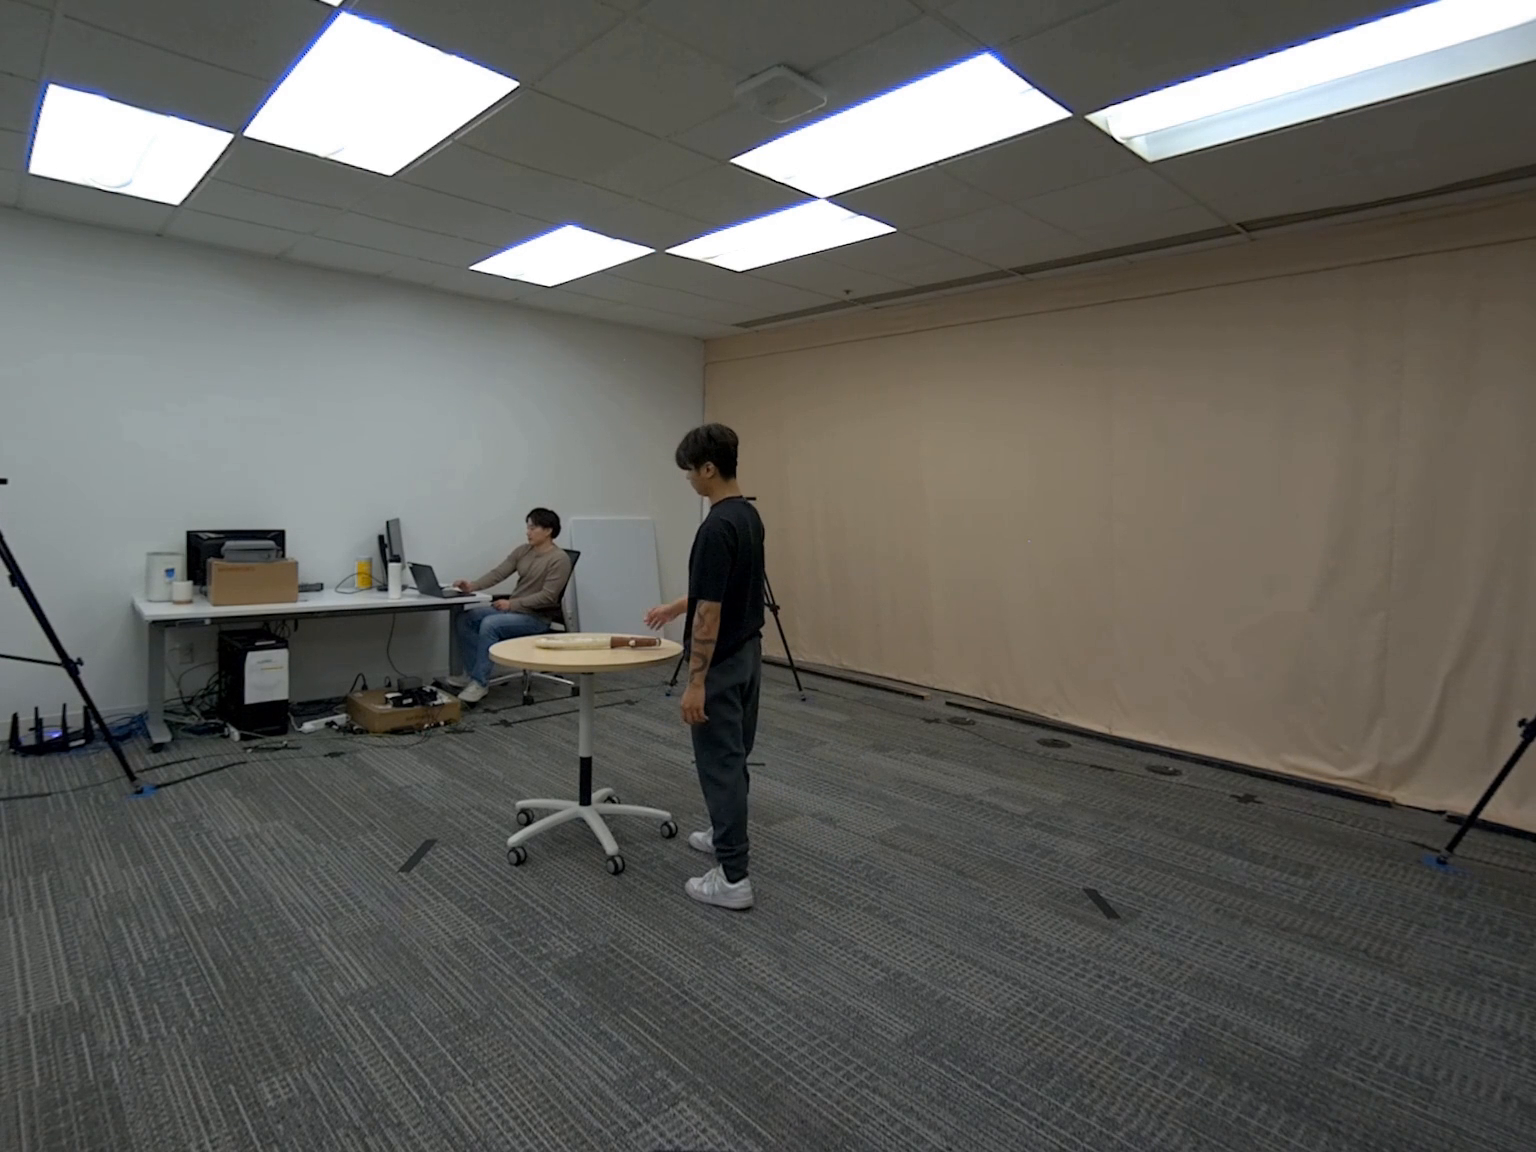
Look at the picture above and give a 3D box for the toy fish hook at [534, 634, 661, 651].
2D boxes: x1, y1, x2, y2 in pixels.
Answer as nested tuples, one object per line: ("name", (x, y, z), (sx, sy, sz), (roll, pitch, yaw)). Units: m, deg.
("toy fish hook", (-0.692, 0.258, 3.412), (0.506, 0.048, 0.226), (0, 6, -2))
